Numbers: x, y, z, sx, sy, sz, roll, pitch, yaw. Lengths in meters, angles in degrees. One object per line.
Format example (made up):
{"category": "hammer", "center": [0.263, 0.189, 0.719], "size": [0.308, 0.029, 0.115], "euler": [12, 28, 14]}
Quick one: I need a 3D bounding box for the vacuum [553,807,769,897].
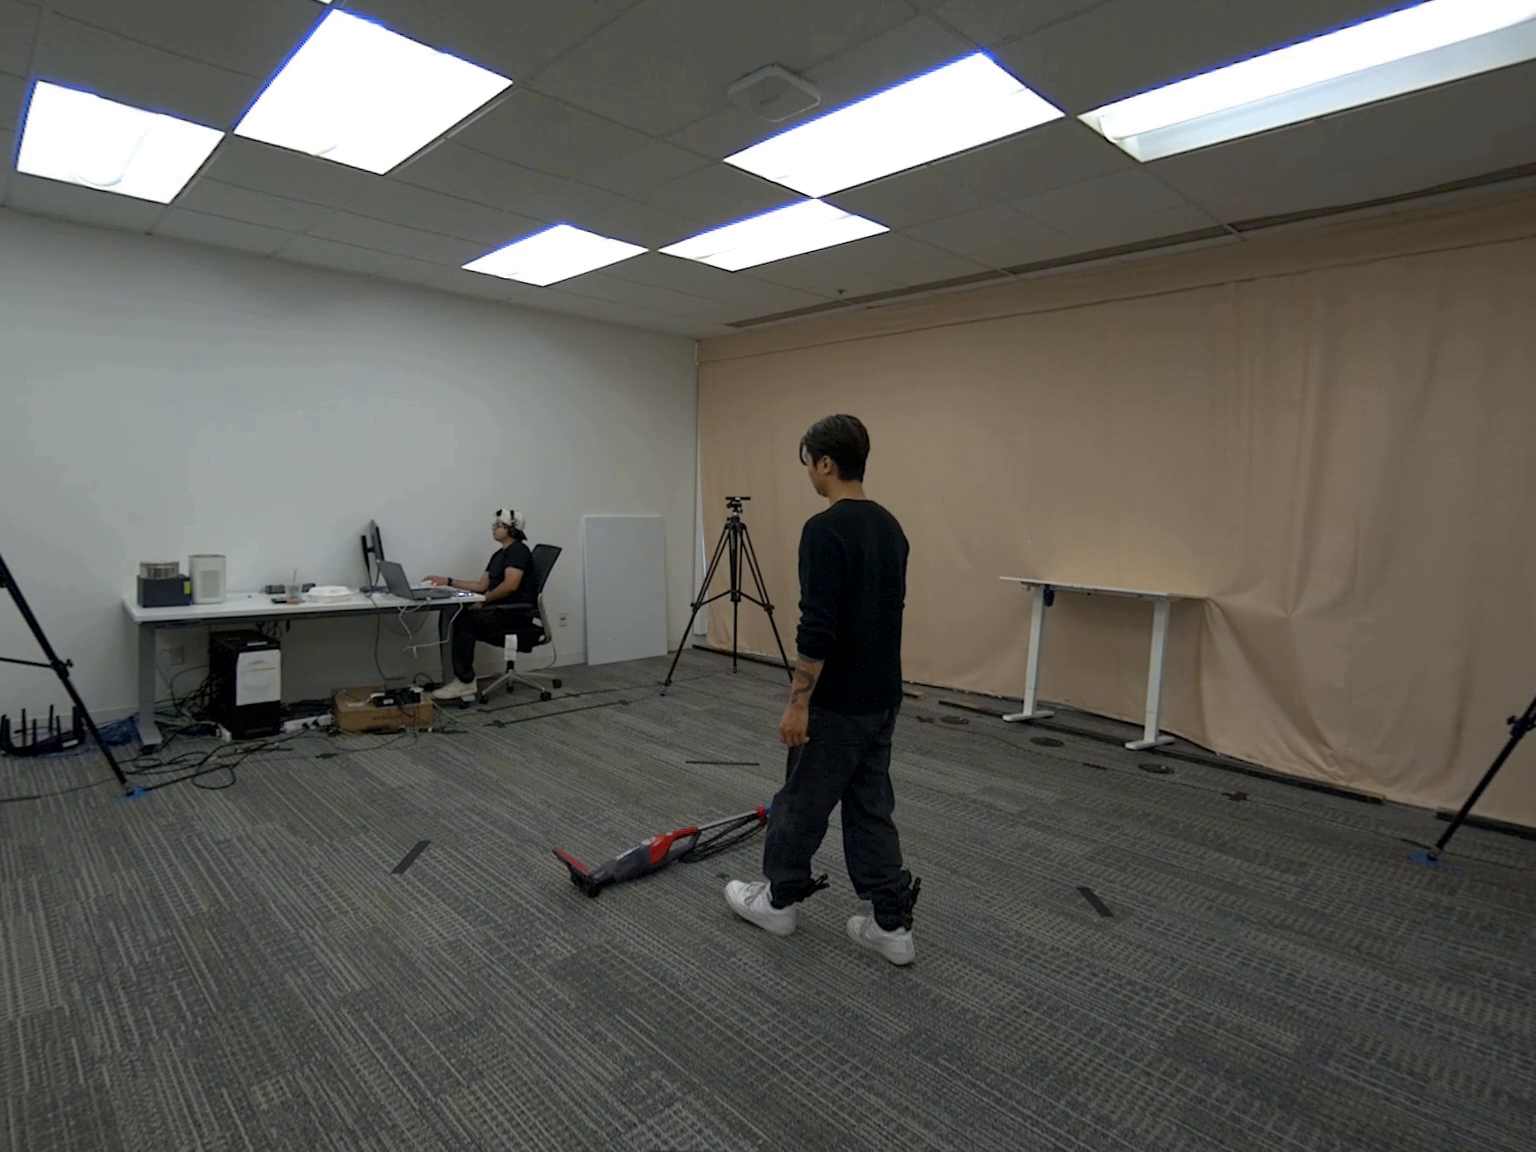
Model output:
{"category": "vacuum", "center": [-0.282, 1.030, 3.261], "size": [1.025, 0.143, 0.259], "euler": [-2, 7, -40]}
